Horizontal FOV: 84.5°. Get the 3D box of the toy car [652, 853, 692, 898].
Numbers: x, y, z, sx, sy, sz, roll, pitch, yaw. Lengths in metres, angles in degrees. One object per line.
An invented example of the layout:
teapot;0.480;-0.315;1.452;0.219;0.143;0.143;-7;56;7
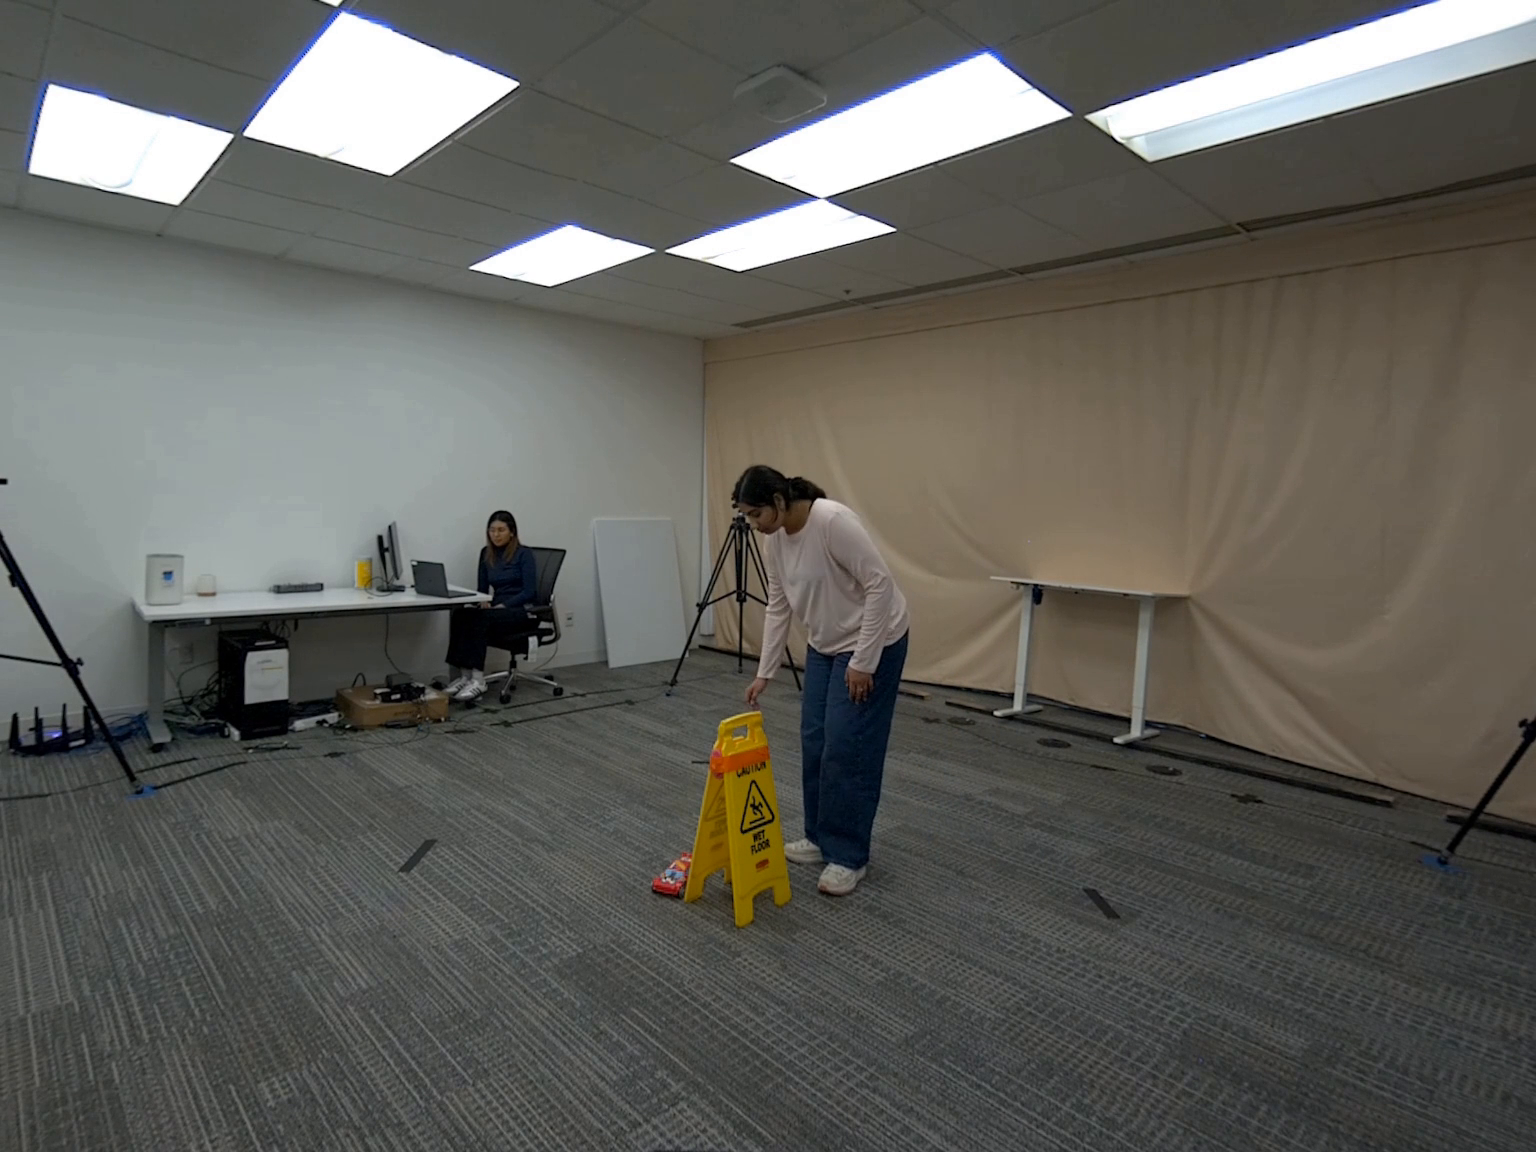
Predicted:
toy car;-0.318;1.075;3.034;0.132;0.082;0.253;0;16;22
